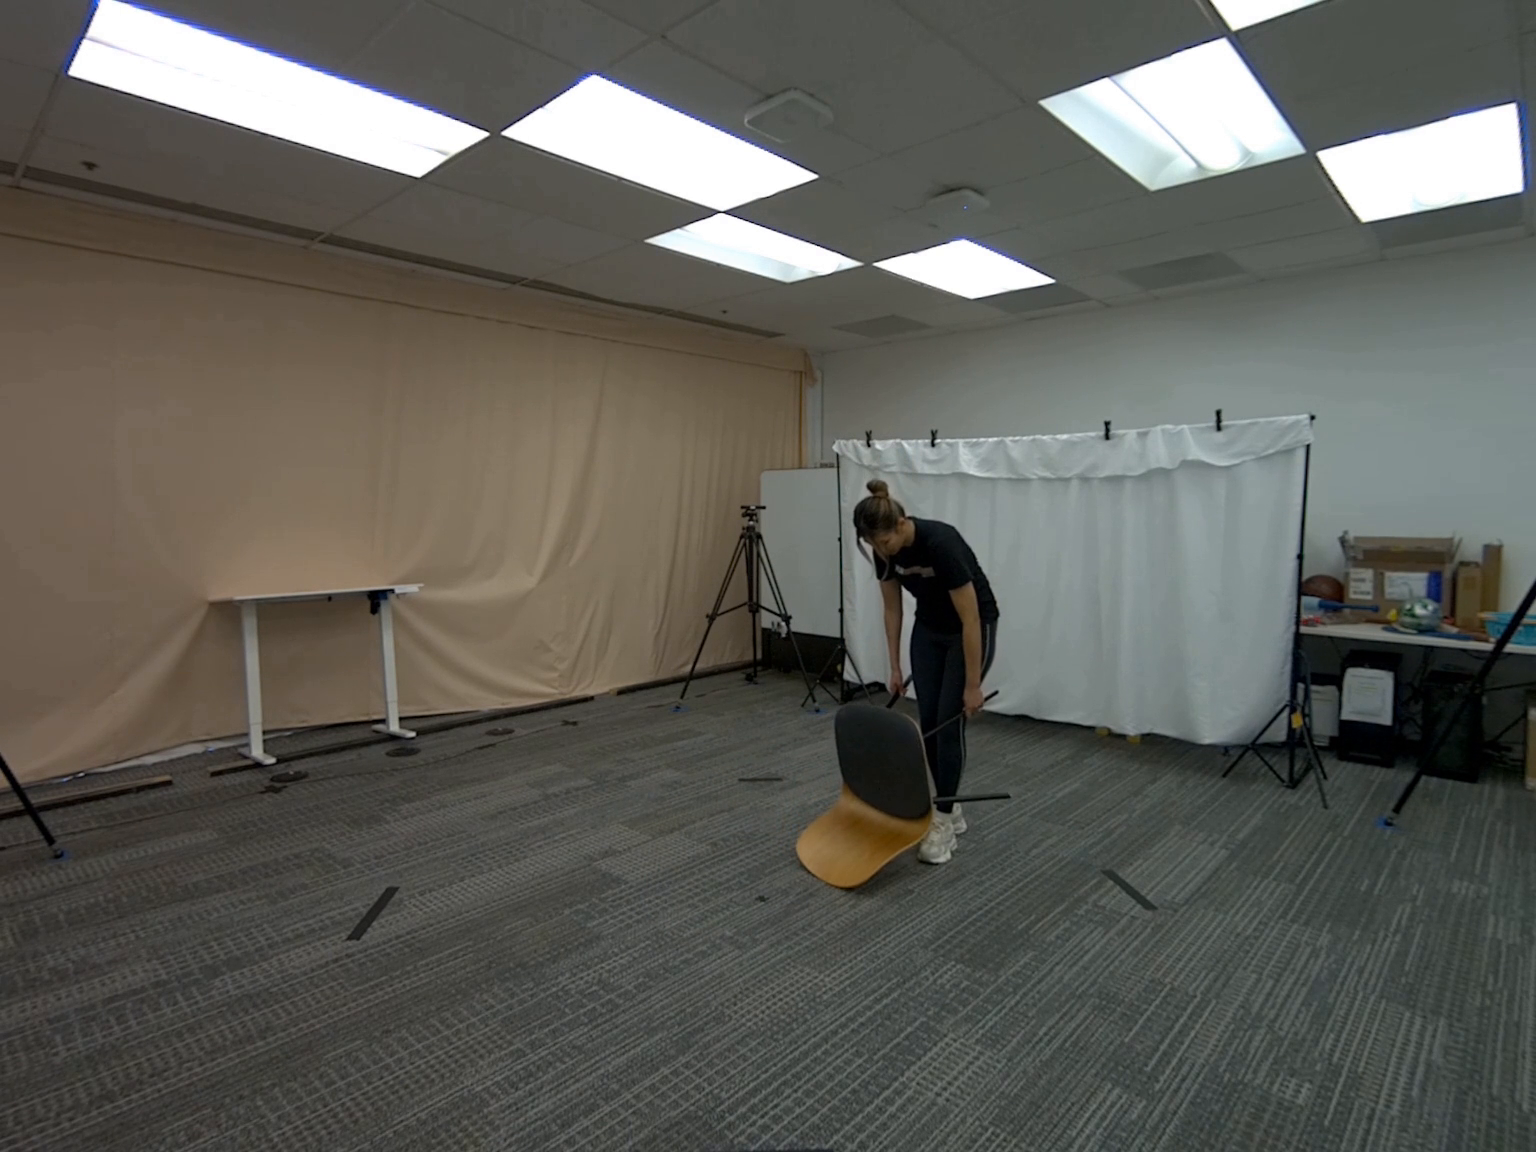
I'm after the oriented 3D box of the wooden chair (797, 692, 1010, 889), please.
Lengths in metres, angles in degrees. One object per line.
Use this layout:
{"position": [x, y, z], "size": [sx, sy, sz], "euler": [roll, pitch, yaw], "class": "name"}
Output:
{"position": [0.483, 0.760, 3.312], "size": [0.858, 0.518, 0.493], "euler": [-21, 15, -35], "class": "wooden chair"}
